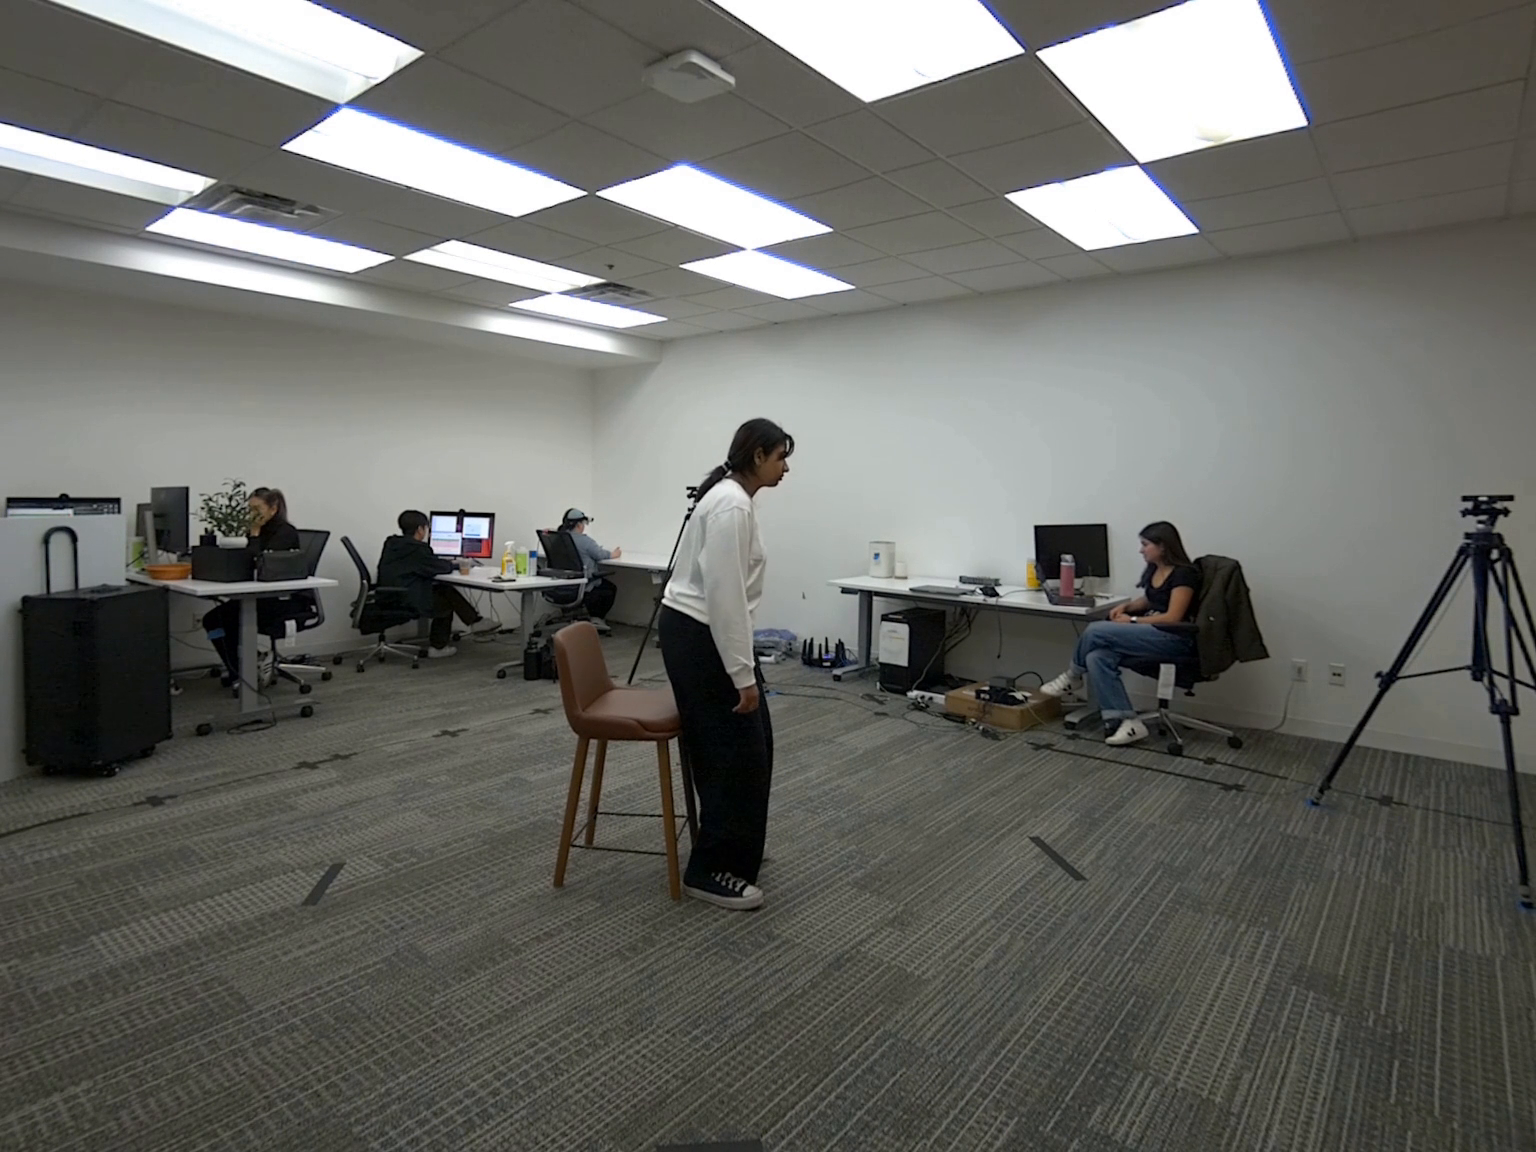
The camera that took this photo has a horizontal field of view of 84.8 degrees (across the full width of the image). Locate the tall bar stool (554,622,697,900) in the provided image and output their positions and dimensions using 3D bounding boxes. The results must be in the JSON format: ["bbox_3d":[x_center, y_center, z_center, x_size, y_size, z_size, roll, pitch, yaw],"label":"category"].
[{"bbox_3d":[-0.508,0.629,3.075,0.472,0.887,0.454,-1,3,8],"label":"tall bar stool"}]
